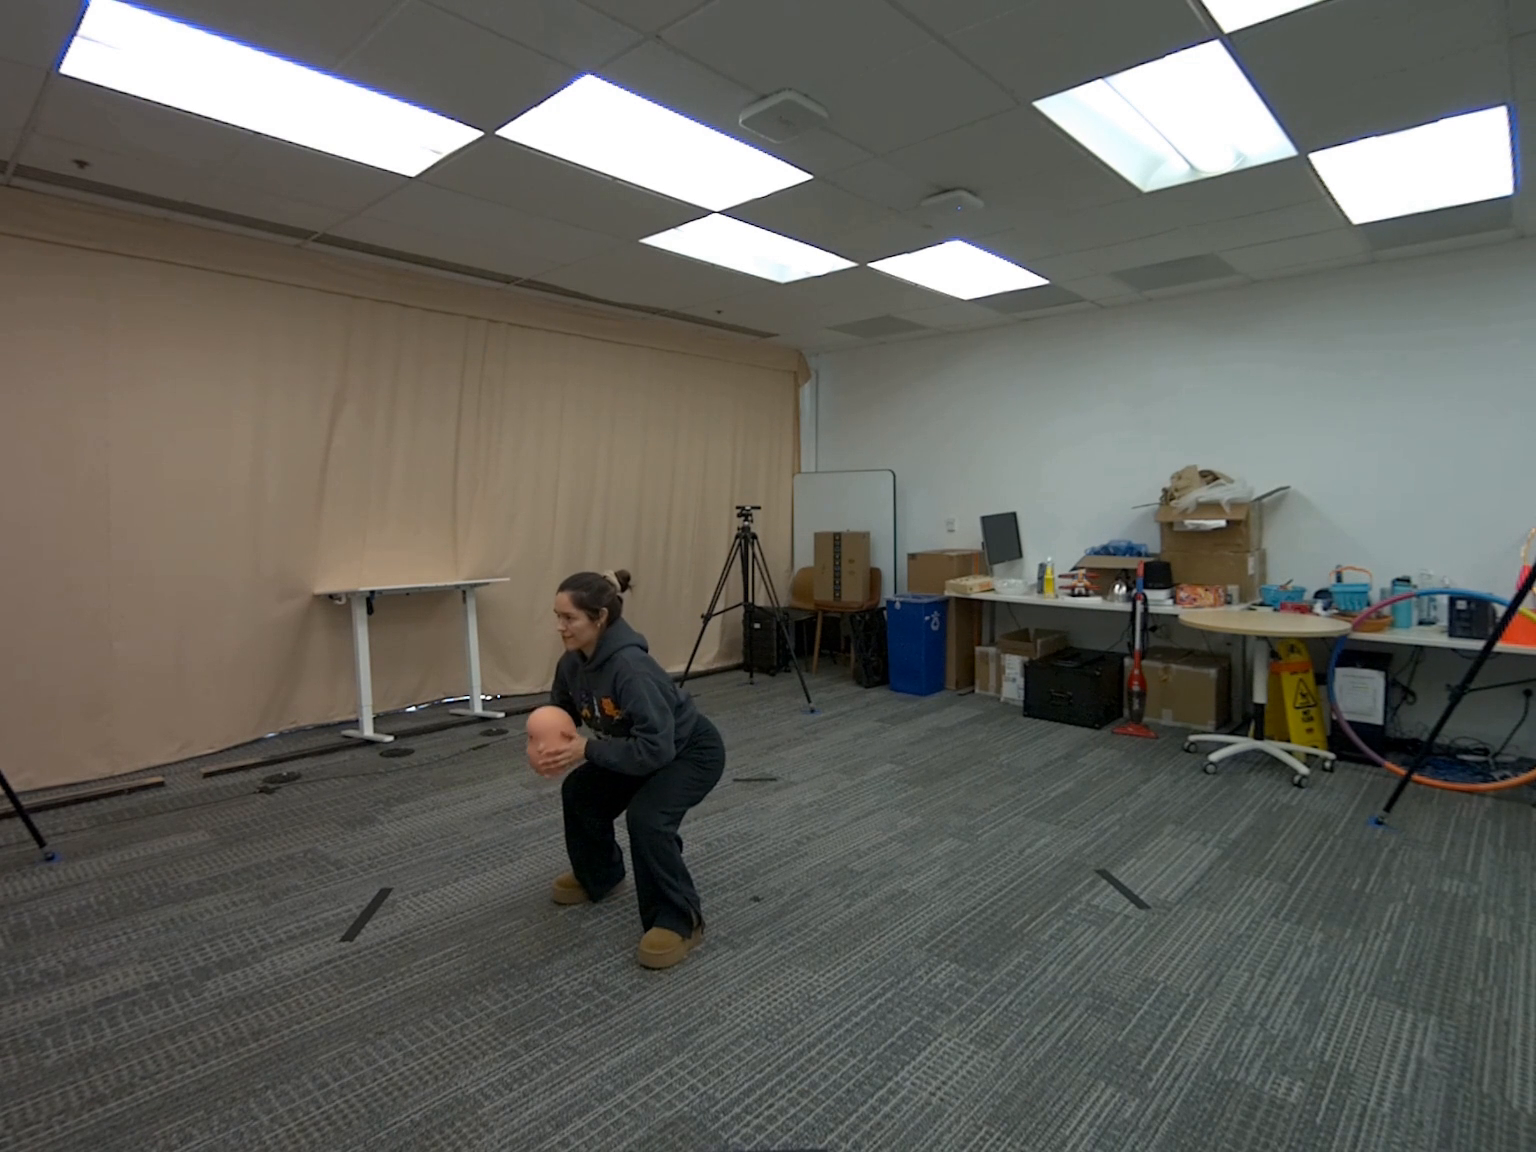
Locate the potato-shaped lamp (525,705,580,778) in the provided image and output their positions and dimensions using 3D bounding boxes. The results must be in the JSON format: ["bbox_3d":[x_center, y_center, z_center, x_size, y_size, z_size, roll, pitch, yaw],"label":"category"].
[{"bbox_3d":[-0.671,0.492,2.621,0.169,0.195,0.170,-26,17,-26],"label":"potato-shaped lamp"}]
